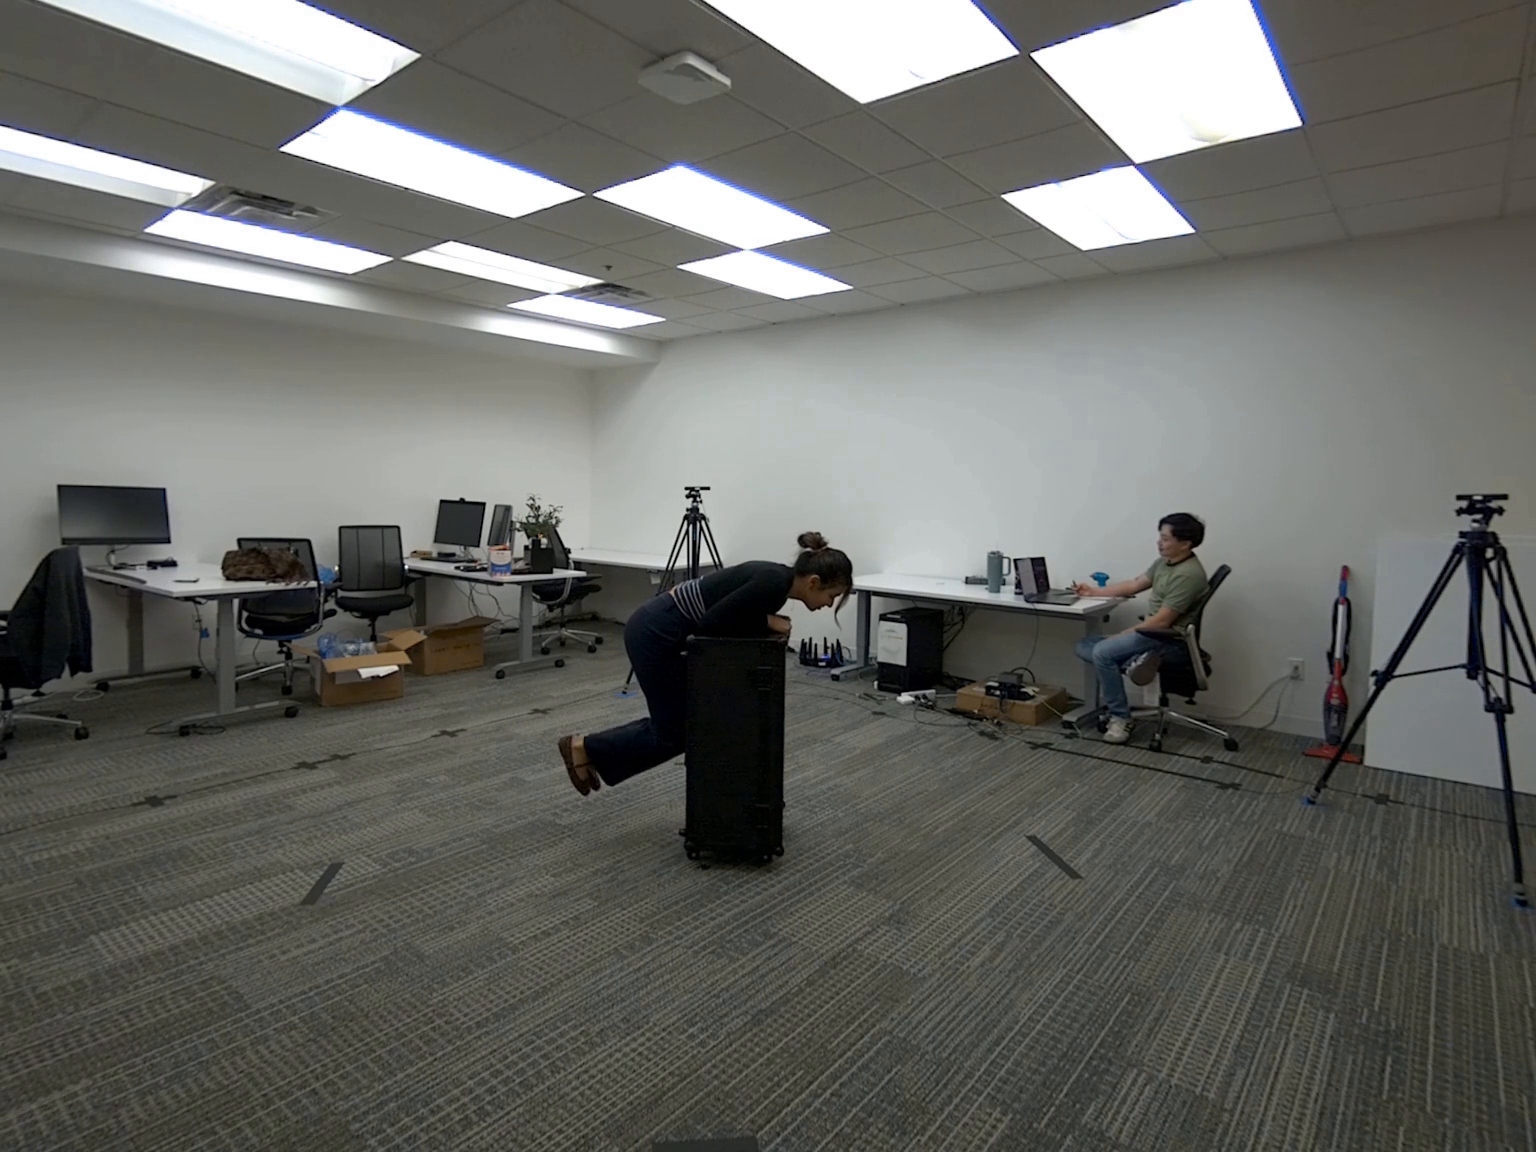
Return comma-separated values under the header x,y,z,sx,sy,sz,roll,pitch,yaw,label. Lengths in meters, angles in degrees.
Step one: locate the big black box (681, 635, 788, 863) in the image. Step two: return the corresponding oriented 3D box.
x,y,z,sx,sy,sz,roll,pitch,yaw,label
-0.135,0.628,3.284,0.398,0.859,0.521,0,4,3,big black box
